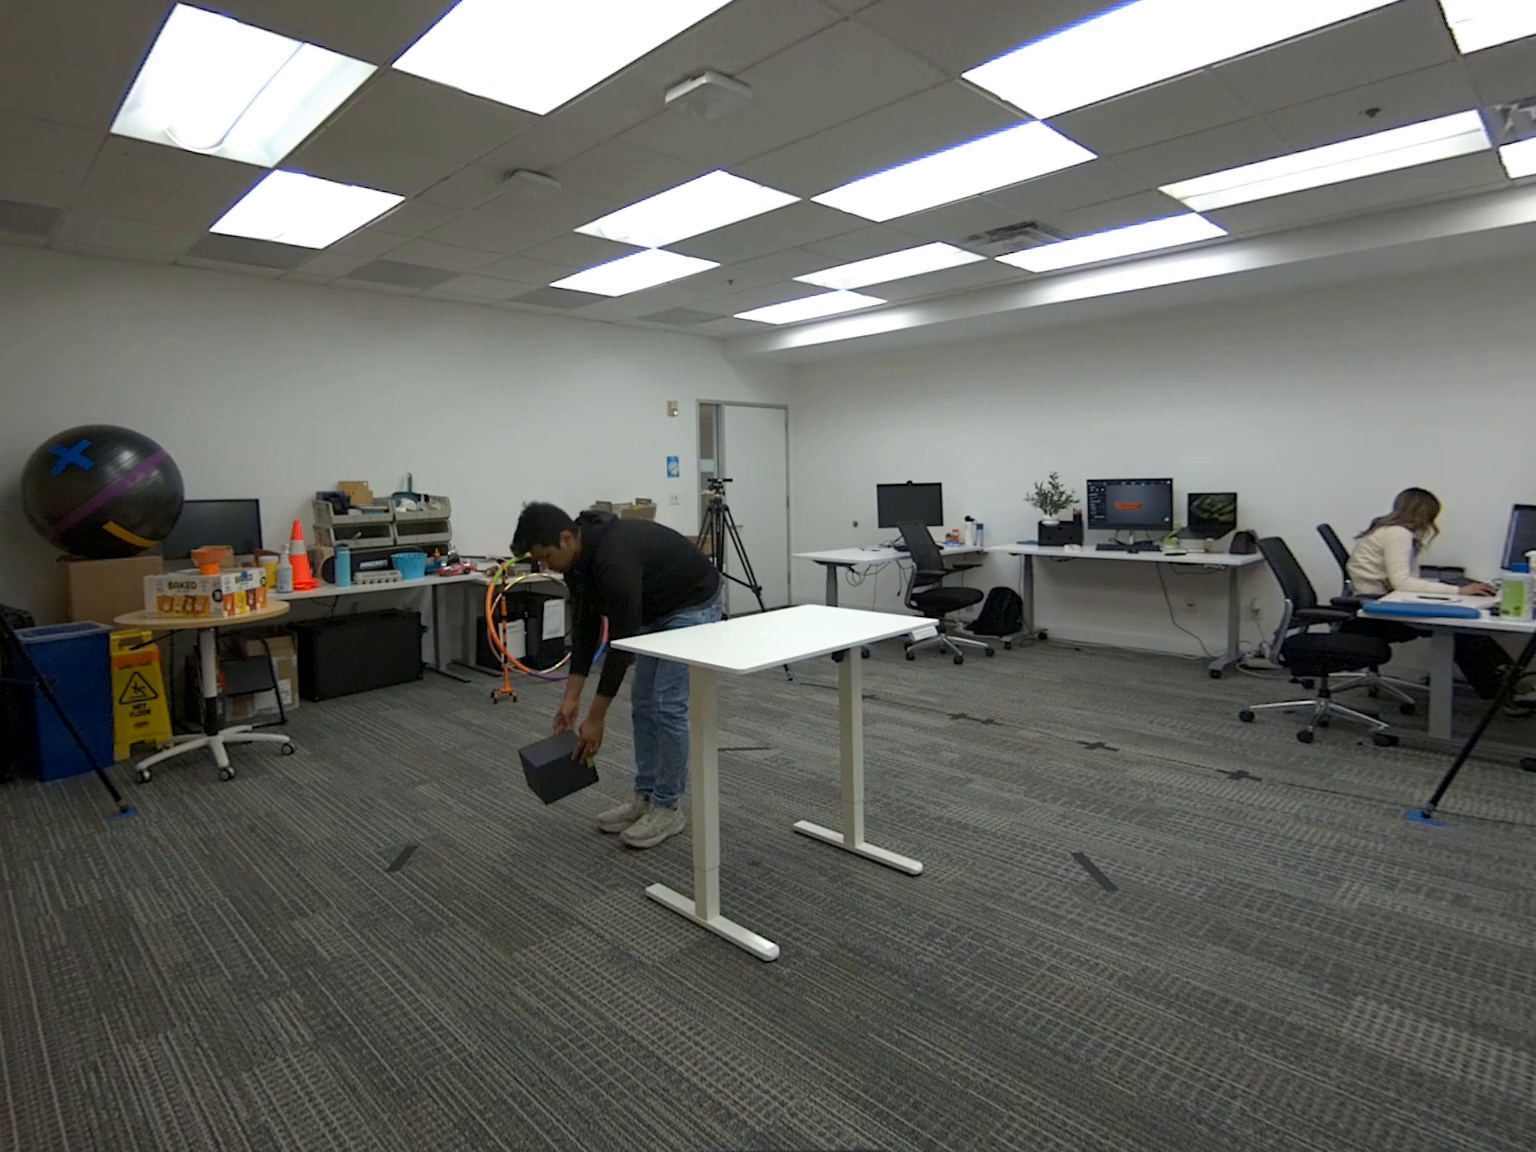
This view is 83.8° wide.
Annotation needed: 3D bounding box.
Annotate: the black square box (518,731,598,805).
[{"bbox_3d":[-0.787,0.700,3.216,0.213,0.154,0.234,-19,14,-29],"label":"black square box"}]
